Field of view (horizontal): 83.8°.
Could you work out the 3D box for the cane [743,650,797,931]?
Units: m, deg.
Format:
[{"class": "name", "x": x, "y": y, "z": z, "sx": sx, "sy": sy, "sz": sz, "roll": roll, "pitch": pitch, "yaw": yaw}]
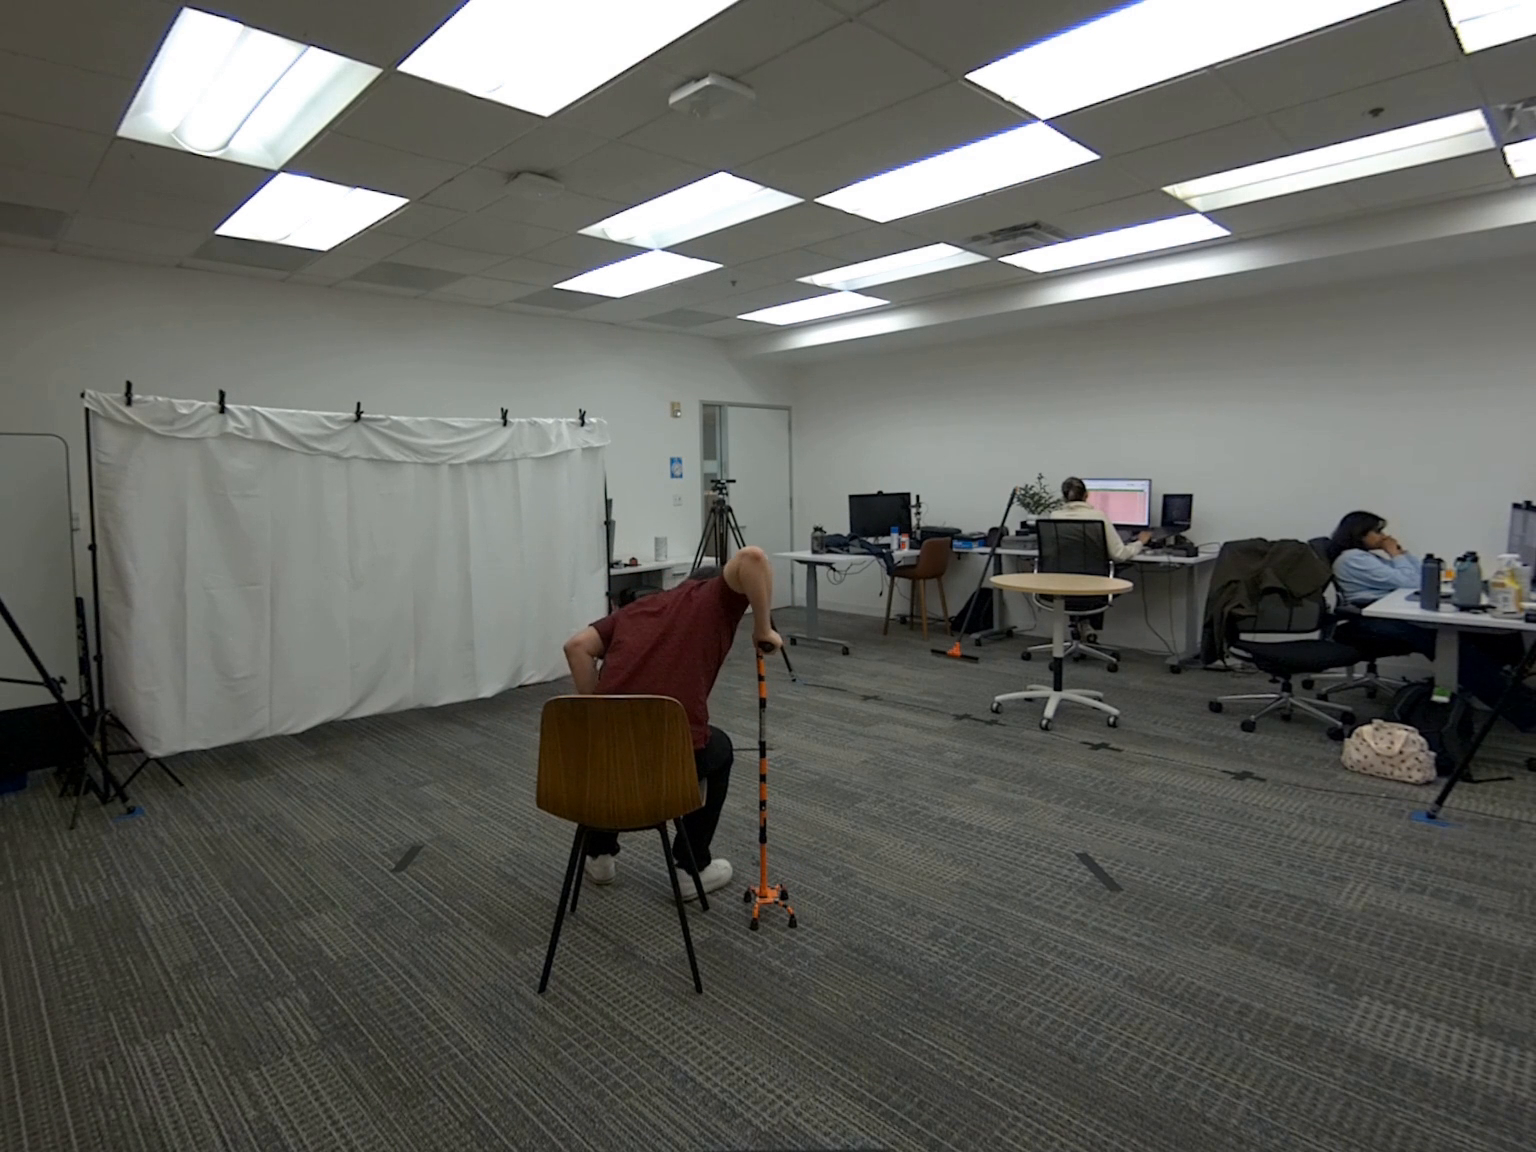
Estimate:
[{"class": "cane", "x": 0.003, "y": 0.638, "z": 2.716, "sx": 0.151, "sy": 0.904, "sz": 0.208, "roll": 0, "pitch": 4, "yaw": -7}]
